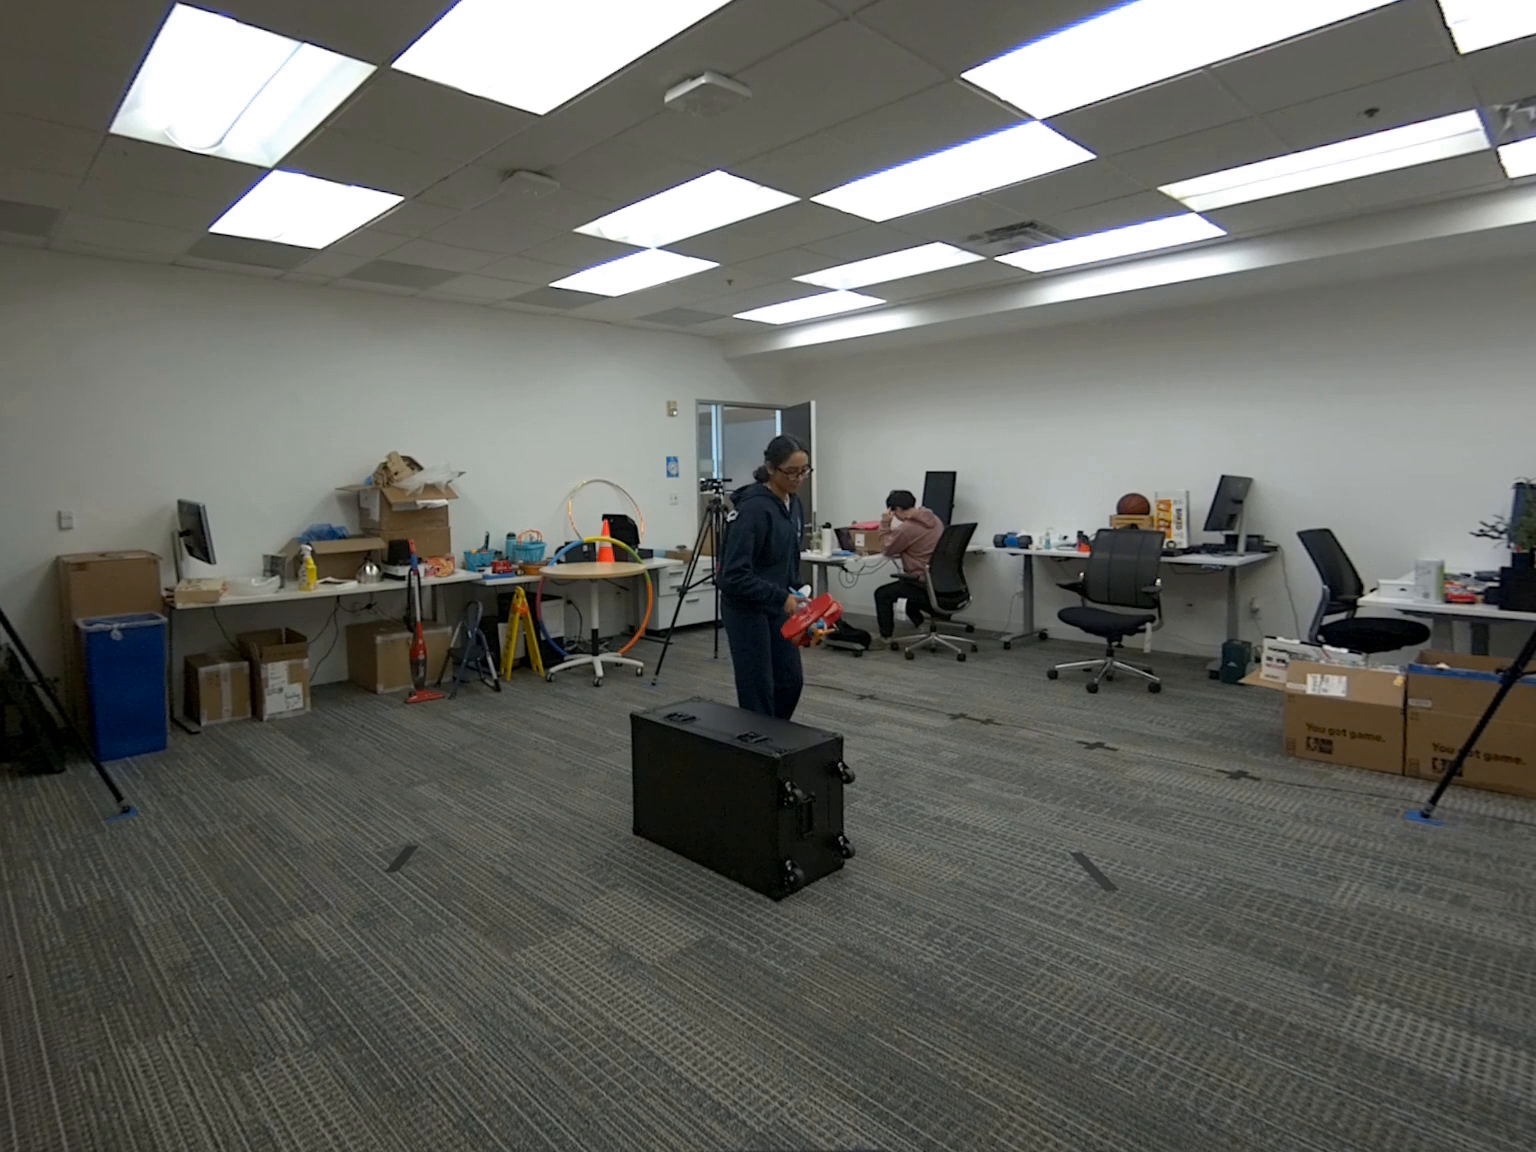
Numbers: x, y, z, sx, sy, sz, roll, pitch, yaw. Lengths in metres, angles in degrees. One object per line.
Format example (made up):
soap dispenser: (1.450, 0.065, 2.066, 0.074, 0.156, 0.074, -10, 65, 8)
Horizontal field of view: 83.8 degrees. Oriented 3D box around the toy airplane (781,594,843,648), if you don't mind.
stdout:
toy airplane: (0.154, 0.186, 3.526, 0.268, 0.251, 0.151, 24, -4, 33)
